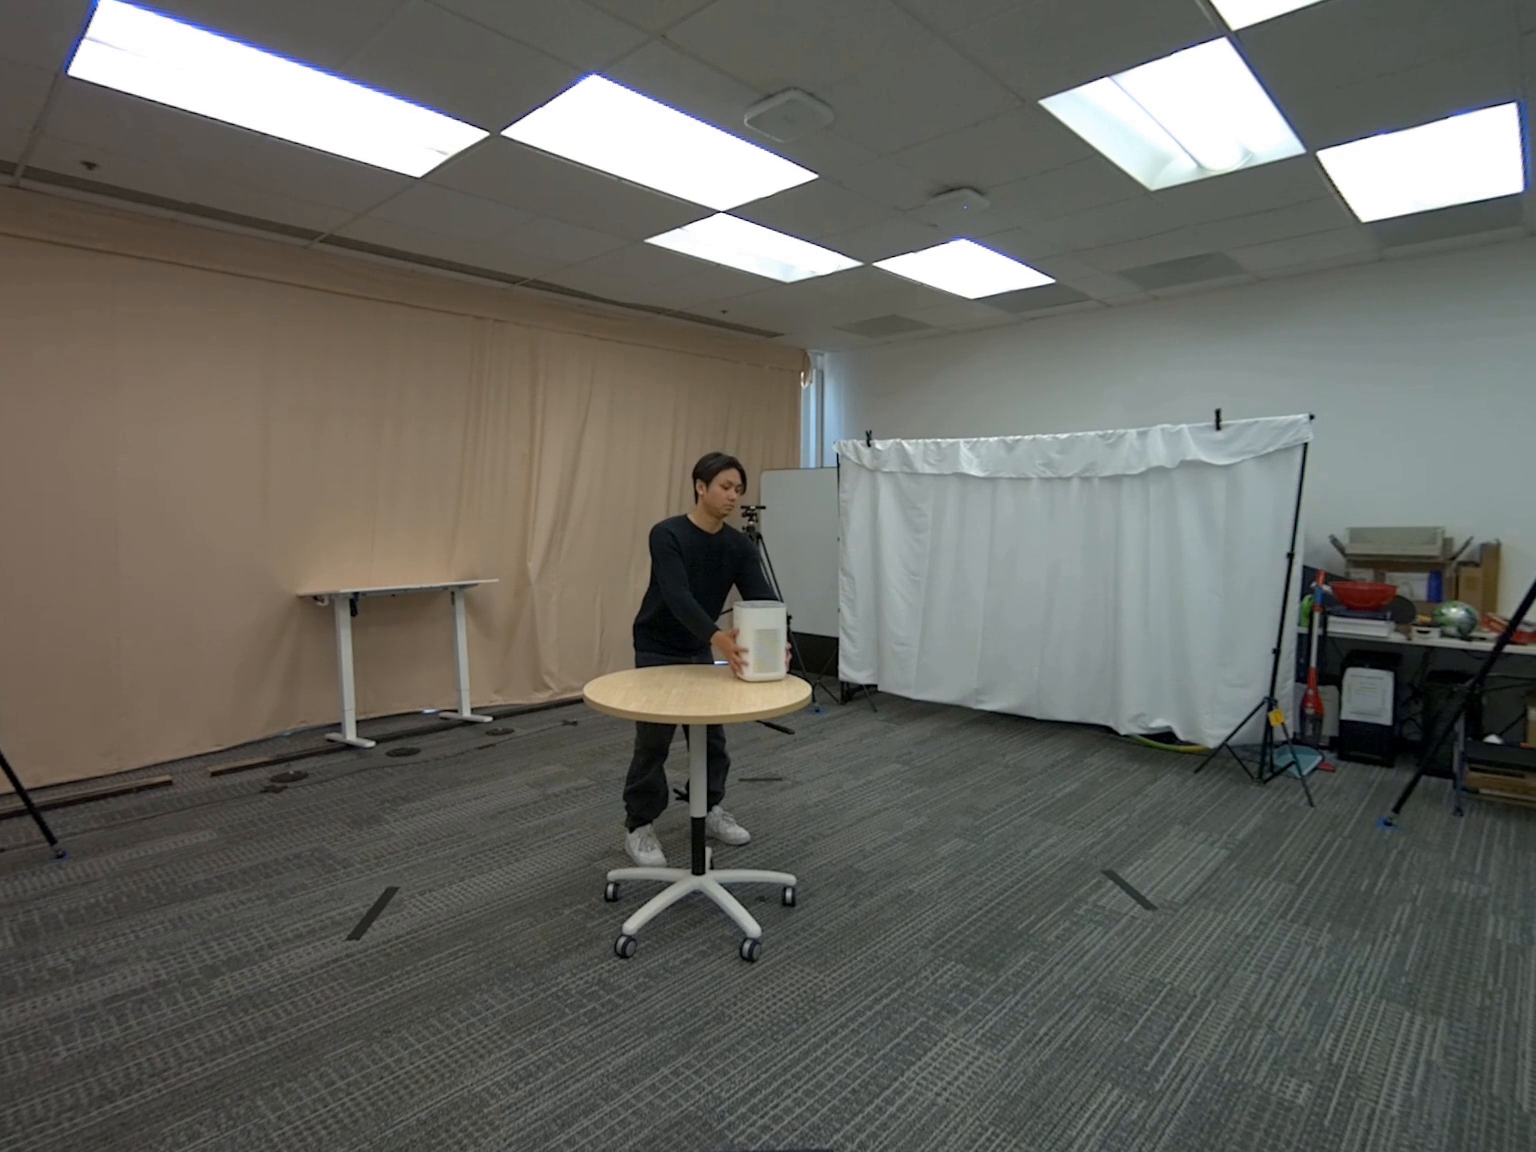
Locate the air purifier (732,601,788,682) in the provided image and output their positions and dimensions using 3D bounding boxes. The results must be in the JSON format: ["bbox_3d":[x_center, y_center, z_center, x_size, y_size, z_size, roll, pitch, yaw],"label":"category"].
[{"bbox_3d":[-0.029,0.227,2.973,0.169,0.265,0.174,0,1,-16],"label":"air purifier"}]
